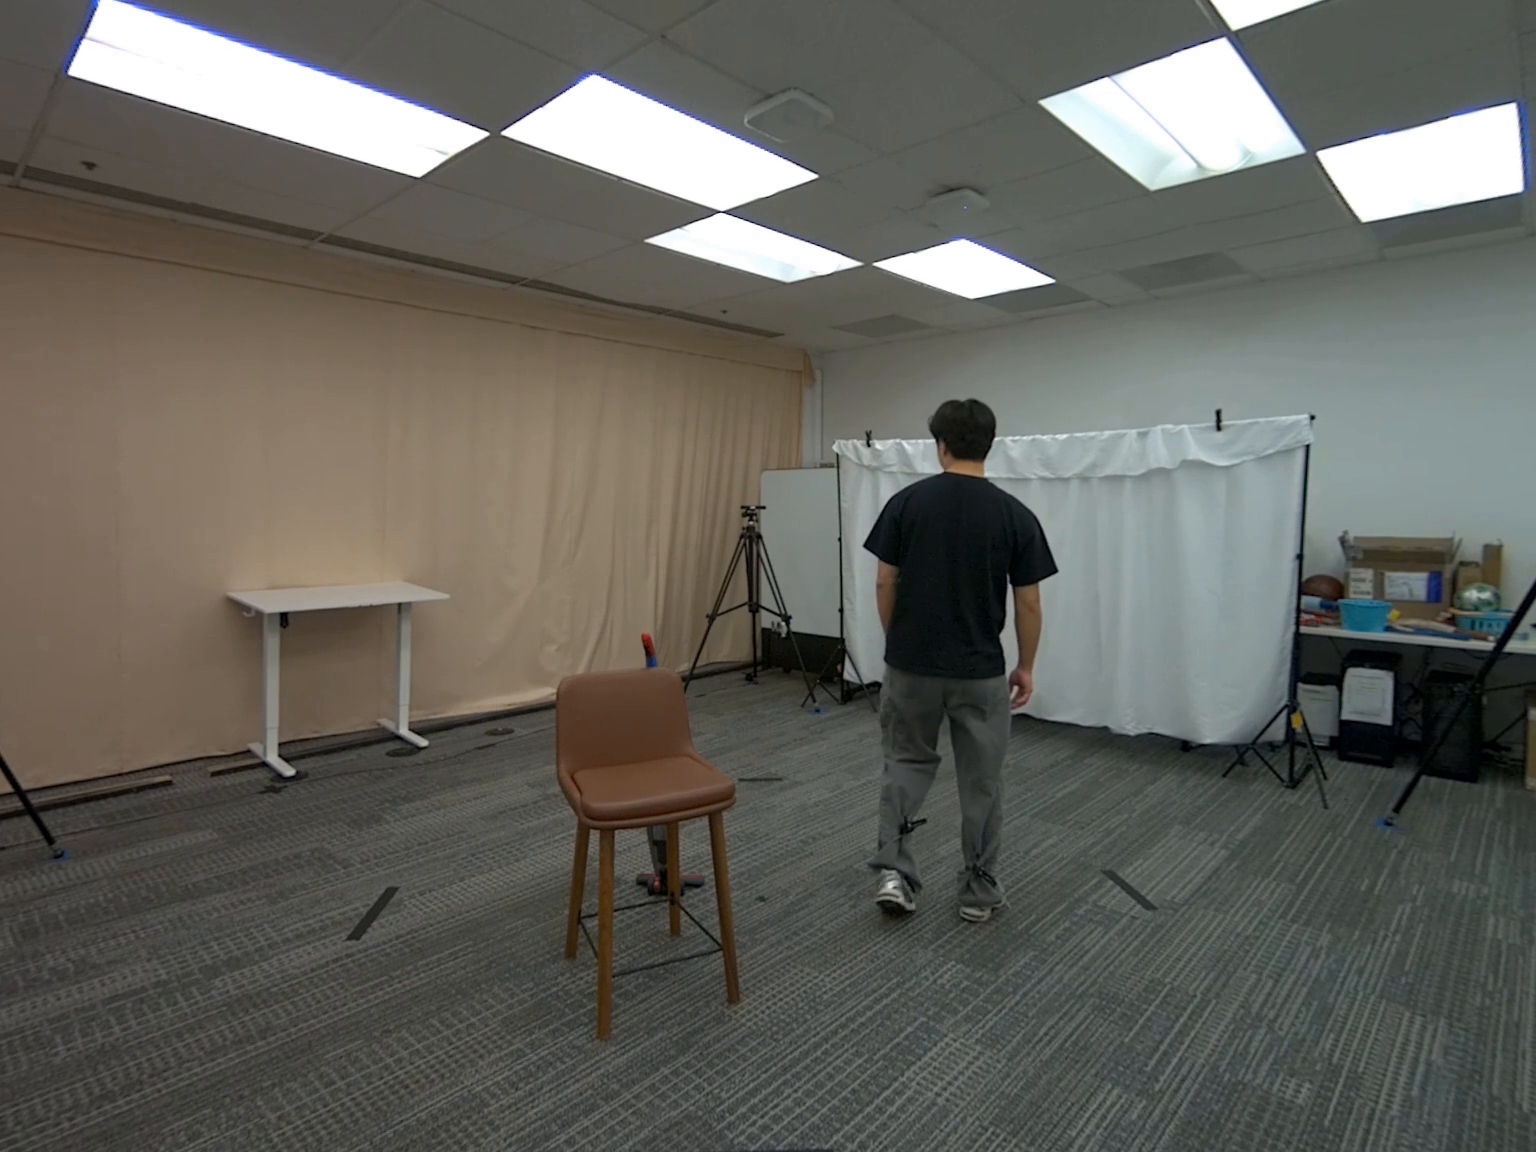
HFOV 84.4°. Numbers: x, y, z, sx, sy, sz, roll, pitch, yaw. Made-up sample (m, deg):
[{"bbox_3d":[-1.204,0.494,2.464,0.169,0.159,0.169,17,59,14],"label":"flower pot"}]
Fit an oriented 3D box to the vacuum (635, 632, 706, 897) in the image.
[{"bbox_3d":[-0.375,0.661,2.872,0.253,1.036,0.145,1,22,2],"label":"vacuum"}]
